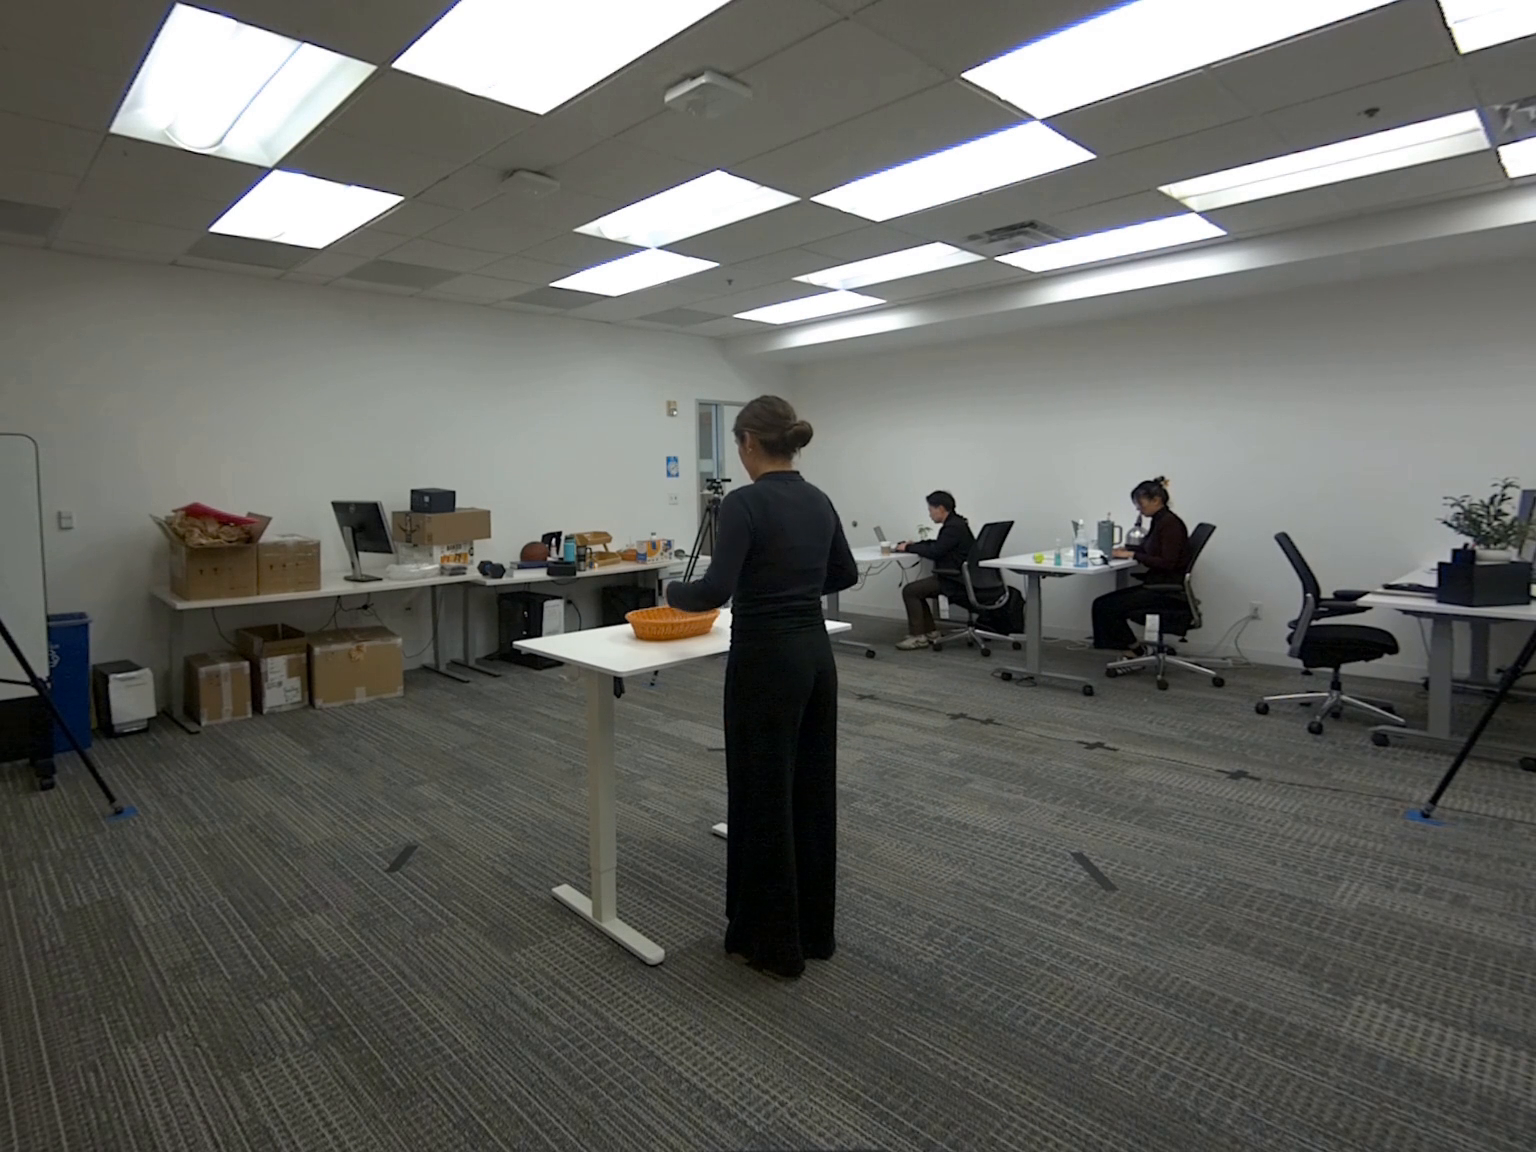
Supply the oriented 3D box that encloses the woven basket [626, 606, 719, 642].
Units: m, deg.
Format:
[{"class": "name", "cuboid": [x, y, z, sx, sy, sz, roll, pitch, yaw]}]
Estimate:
[{"class": "woven basket", "cuboid": [-0.312, 0.166, 2.863, 0.341, 0.073, 0.260, -7, 9, -44]}]
